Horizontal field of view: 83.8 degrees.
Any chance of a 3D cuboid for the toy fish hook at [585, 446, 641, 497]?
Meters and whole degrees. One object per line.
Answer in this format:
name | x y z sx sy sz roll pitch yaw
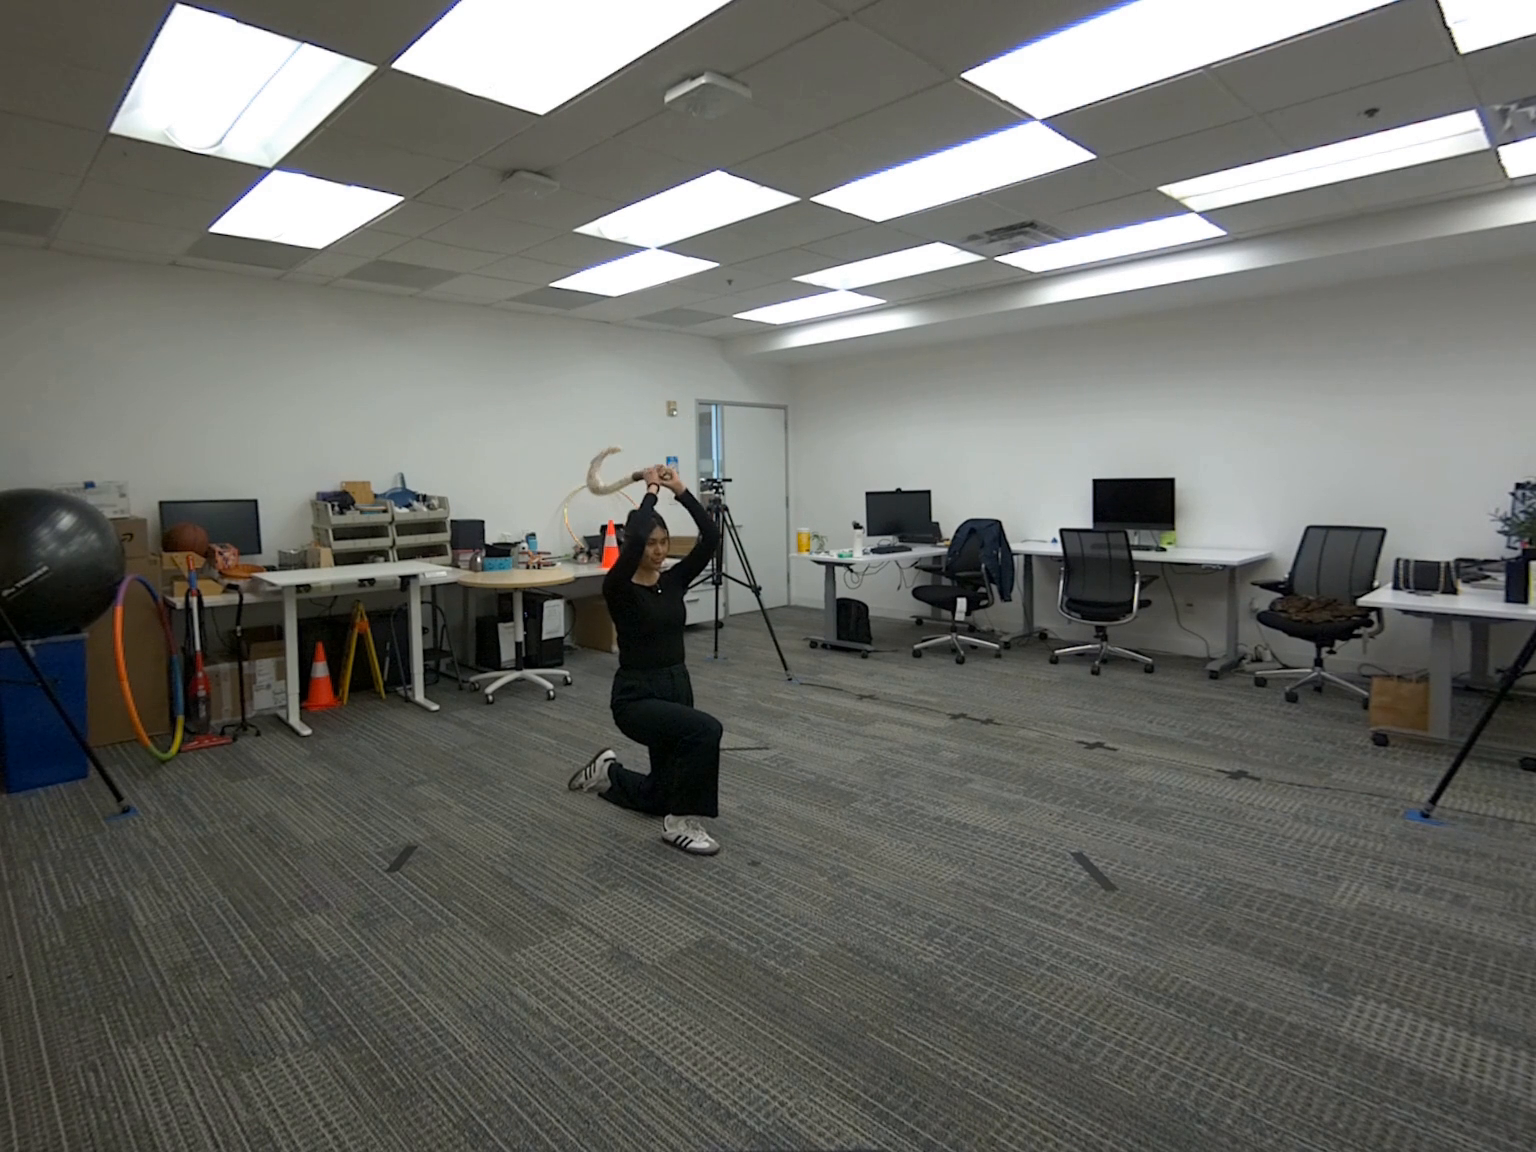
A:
toy fish hook | -0.560 -0.454 3.563 0.521 0.226 0.047 -2 -10 40
